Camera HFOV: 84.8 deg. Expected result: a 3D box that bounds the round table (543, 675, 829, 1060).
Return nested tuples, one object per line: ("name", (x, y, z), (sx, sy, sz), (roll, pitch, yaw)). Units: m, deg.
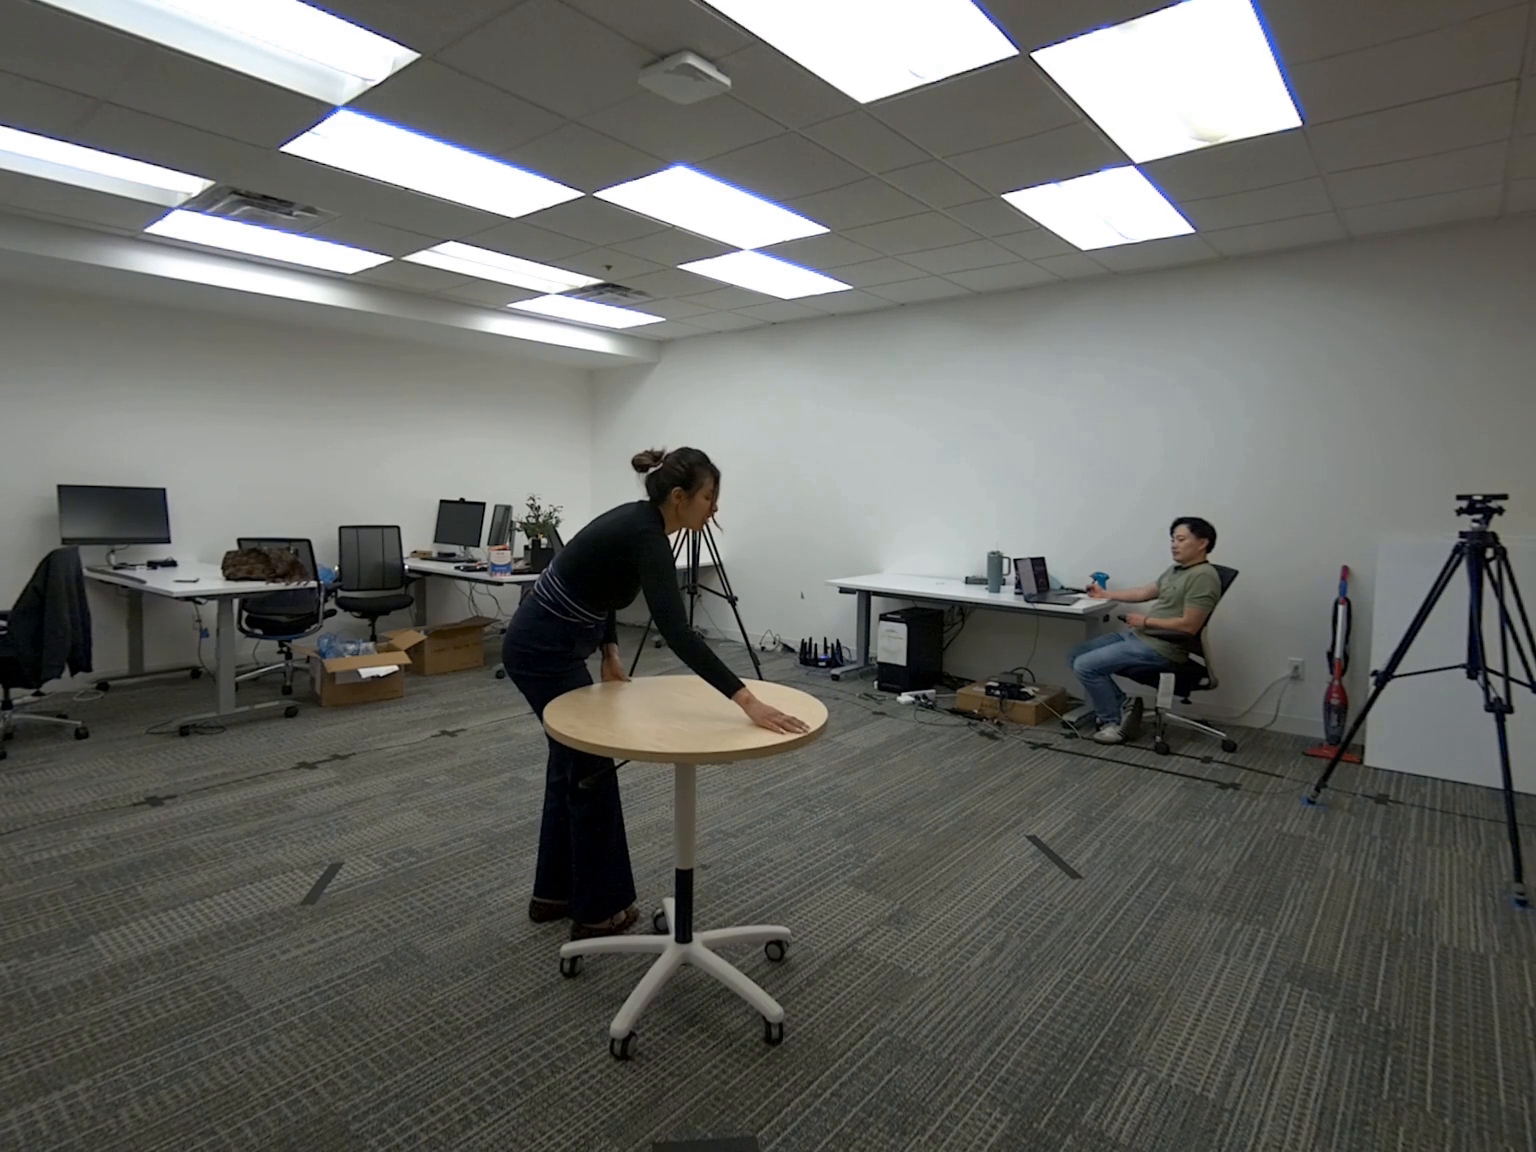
("round table", (-0.229, 0.748, 2.340), (0.763, 0.791, 0.768), (1, 5, -2))
